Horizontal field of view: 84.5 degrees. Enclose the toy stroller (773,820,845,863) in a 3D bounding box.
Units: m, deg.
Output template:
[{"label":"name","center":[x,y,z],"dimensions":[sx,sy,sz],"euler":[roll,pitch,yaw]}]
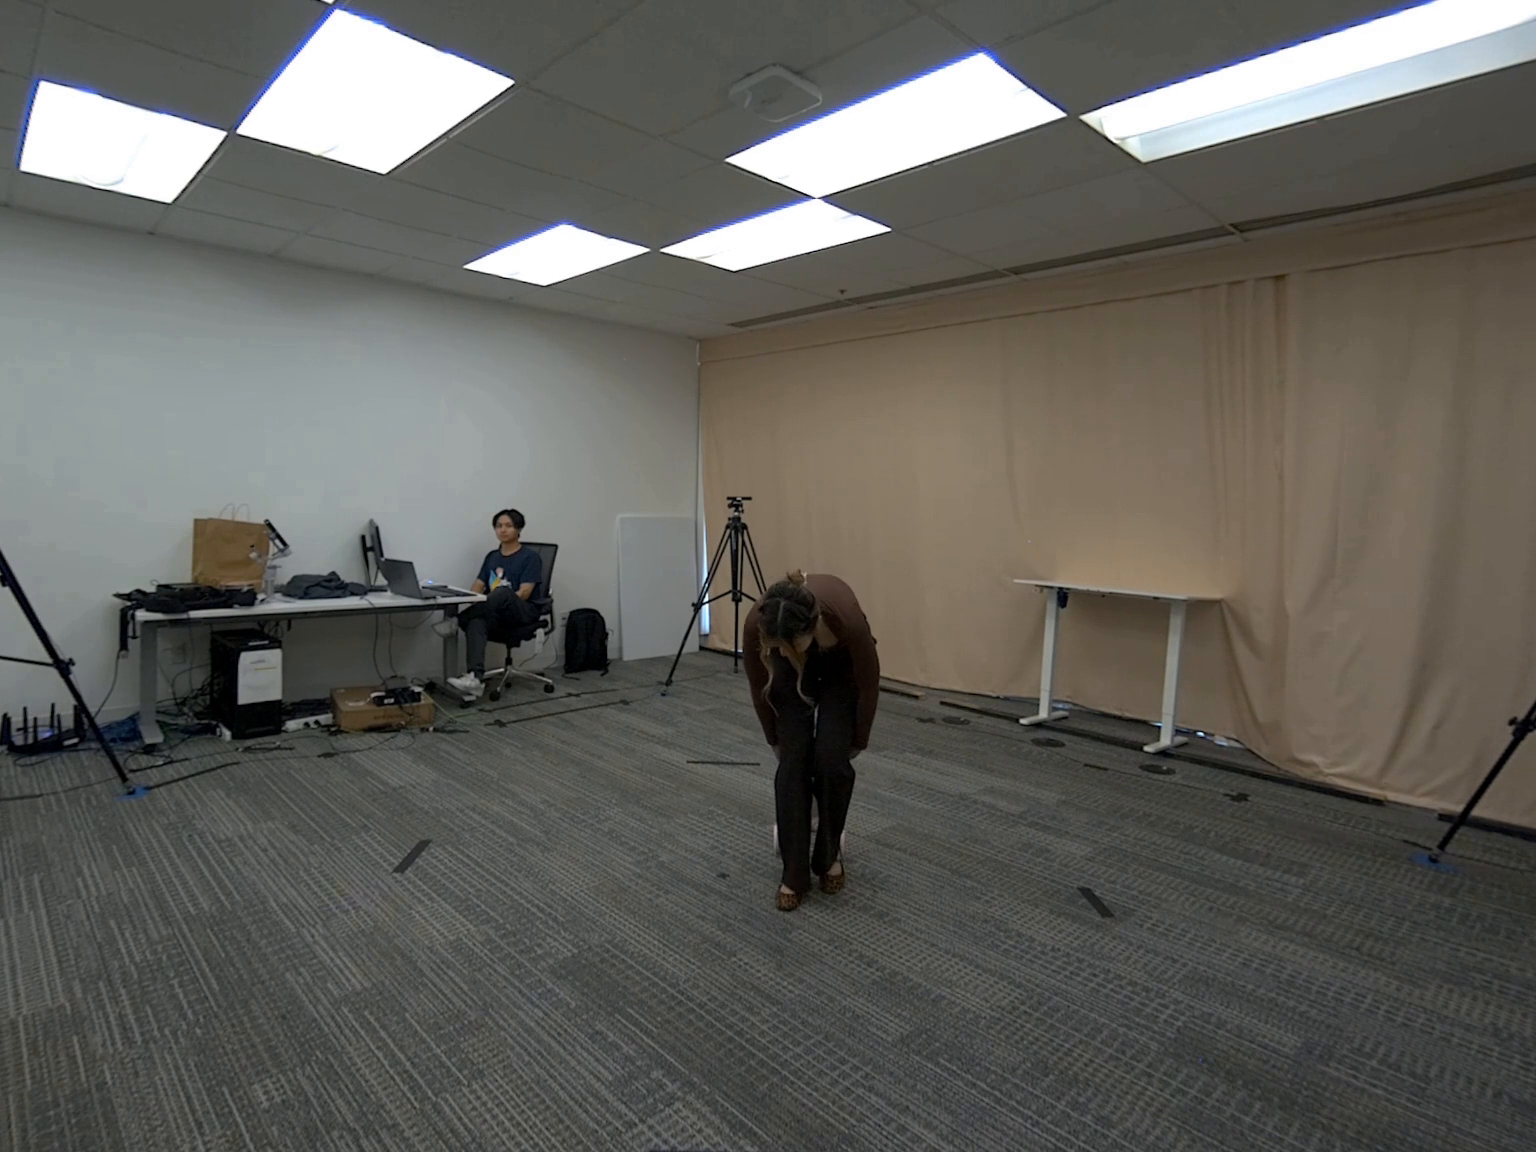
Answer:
[{"label":"toy stroller","center":[0.174,0.871,3.362],"dimensions":[0.284,0.528,0.343],"euler":[2,19,10]}]
